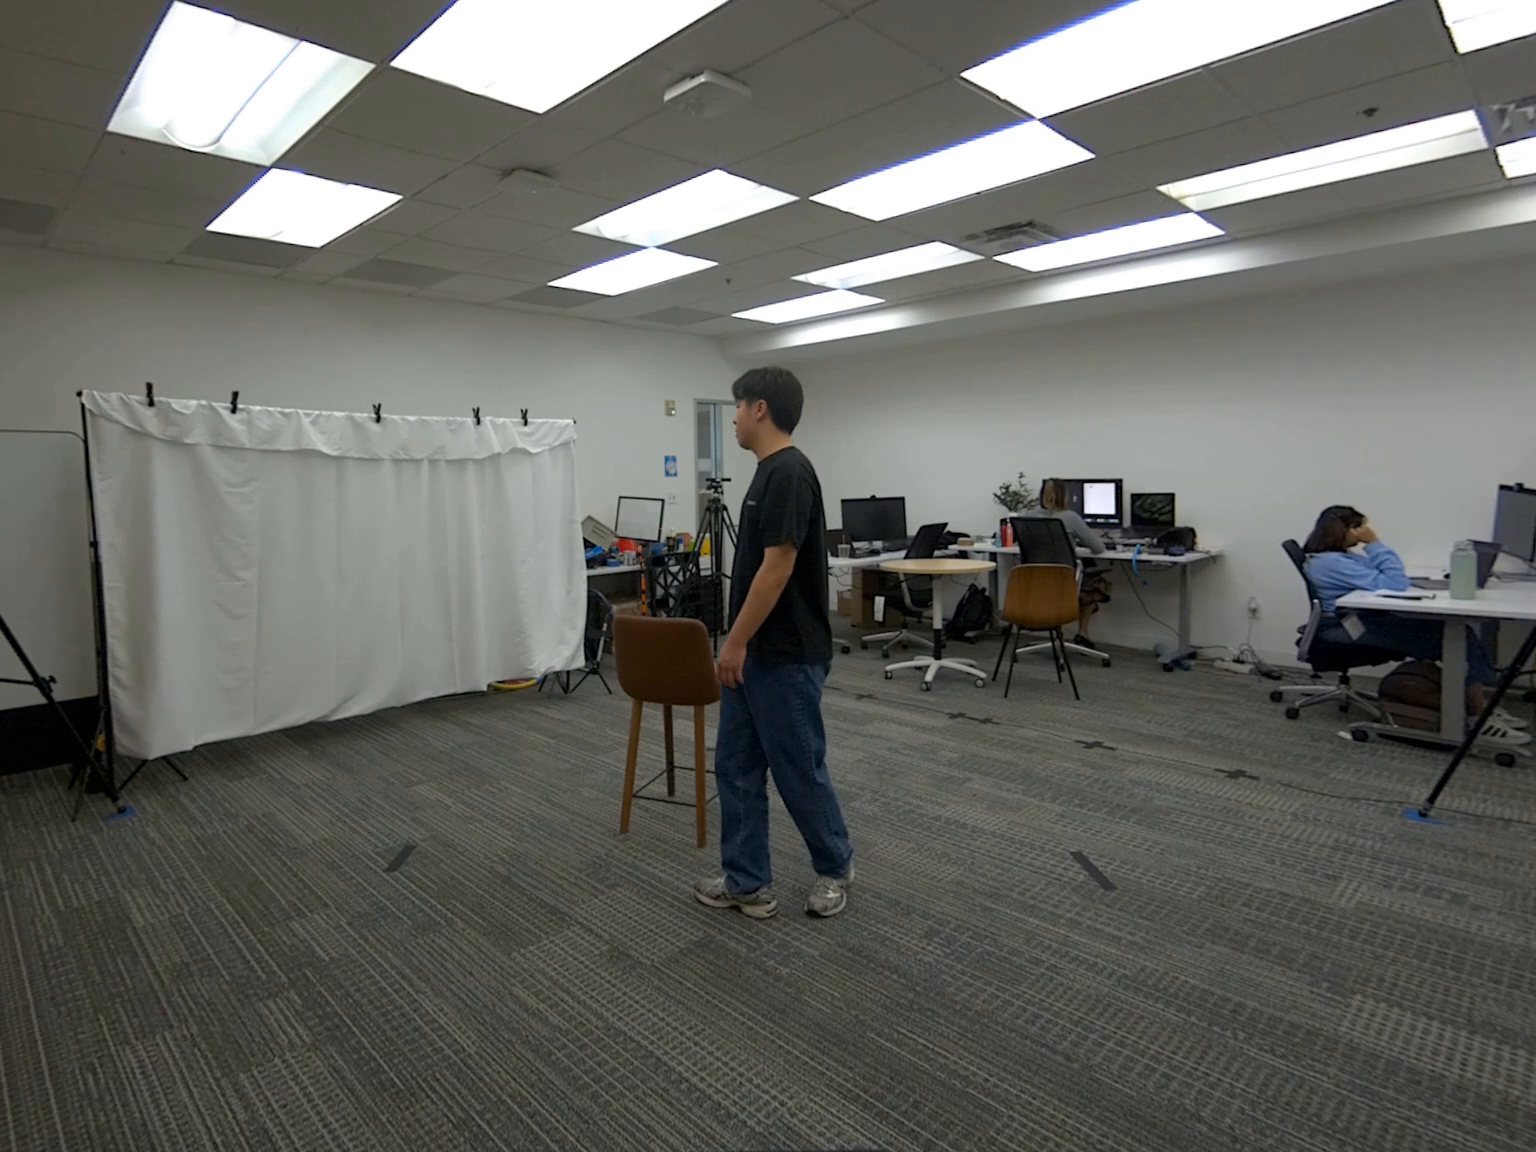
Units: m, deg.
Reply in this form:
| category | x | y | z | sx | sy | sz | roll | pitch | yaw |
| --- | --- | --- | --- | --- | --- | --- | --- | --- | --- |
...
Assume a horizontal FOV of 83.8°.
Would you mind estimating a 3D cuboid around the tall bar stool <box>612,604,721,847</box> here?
| category | x | y | z | sx | sy | sz | roll | pitch | yaw |
| --- | --- | --- | --- | --- | --- | --- | --- | --- | --- |
| tall bar stool | -0.344 | 0.568 | 3.487 | 0.467 | 0.885 | 0.459 | 1 | 6 | 25 |
